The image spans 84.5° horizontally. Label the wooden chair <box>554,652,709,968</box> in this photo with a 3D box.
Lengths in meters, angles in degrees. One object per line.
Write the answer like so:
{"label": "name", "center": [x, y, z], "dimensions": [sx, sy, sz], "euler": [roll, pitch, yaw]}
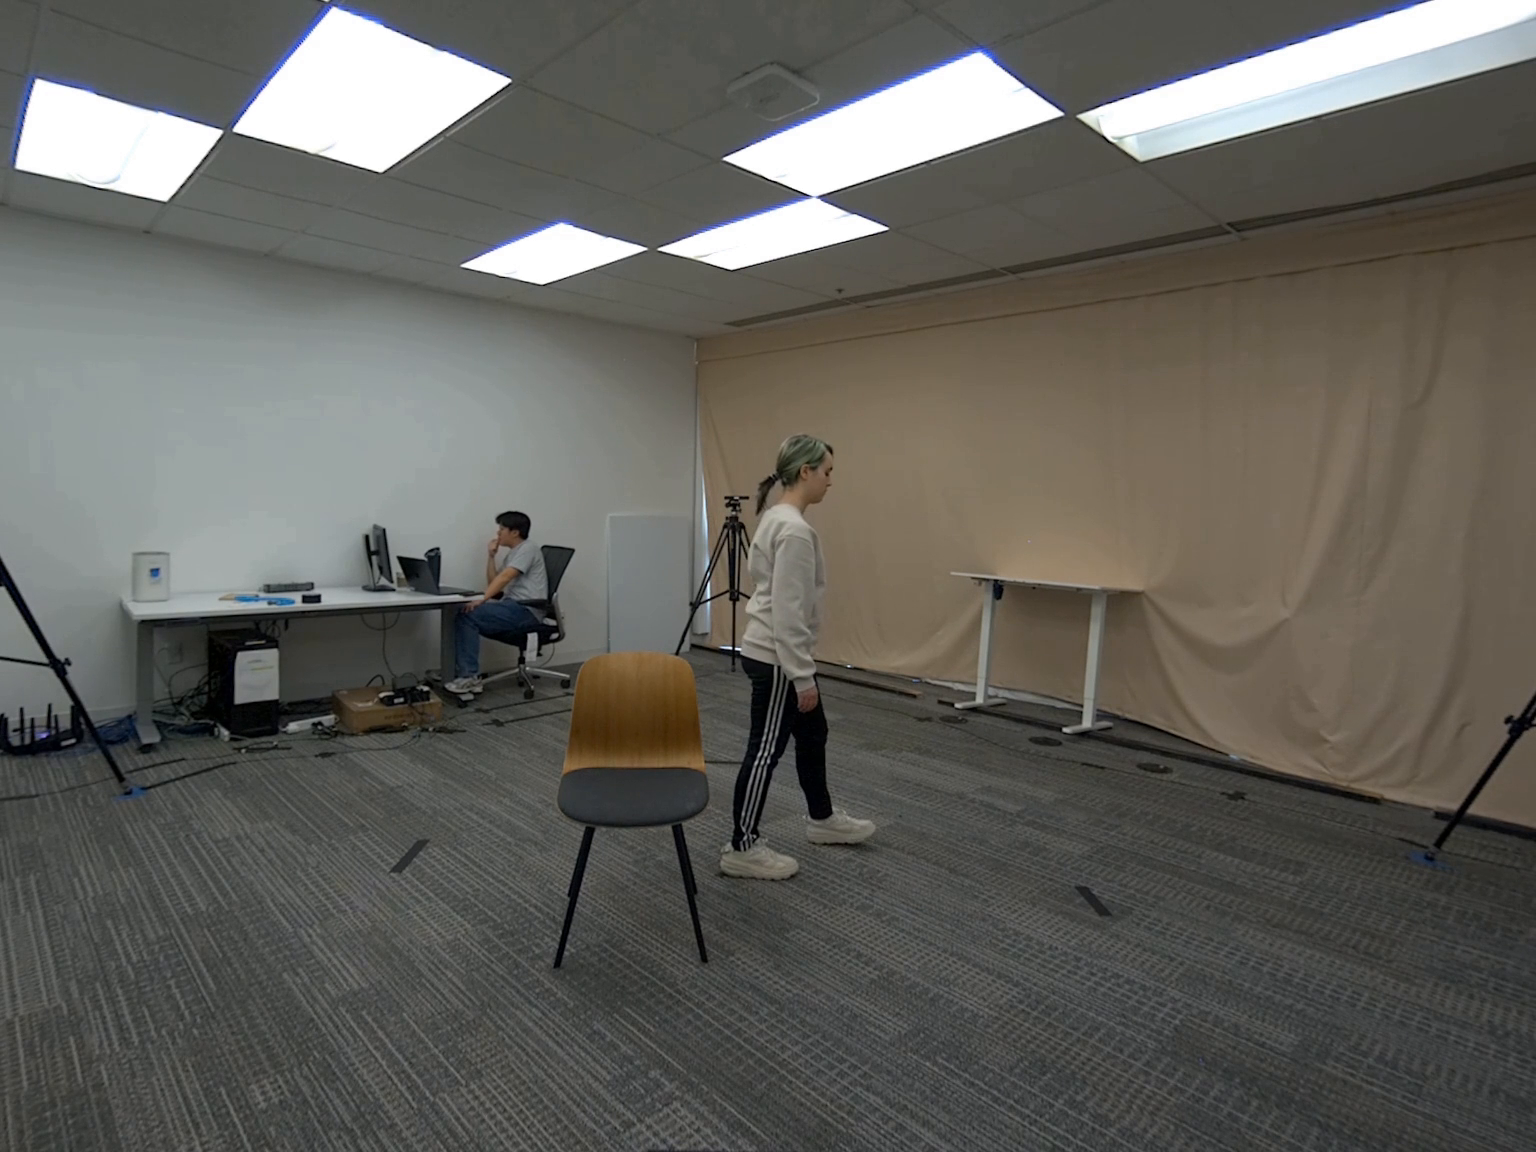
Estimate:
{"label": "wooden chair", "center": [-0.421, 0.711, 2.667], "dimensions": [0.475, 0.878, 0.526], "euler": [1, -1, -9]}
